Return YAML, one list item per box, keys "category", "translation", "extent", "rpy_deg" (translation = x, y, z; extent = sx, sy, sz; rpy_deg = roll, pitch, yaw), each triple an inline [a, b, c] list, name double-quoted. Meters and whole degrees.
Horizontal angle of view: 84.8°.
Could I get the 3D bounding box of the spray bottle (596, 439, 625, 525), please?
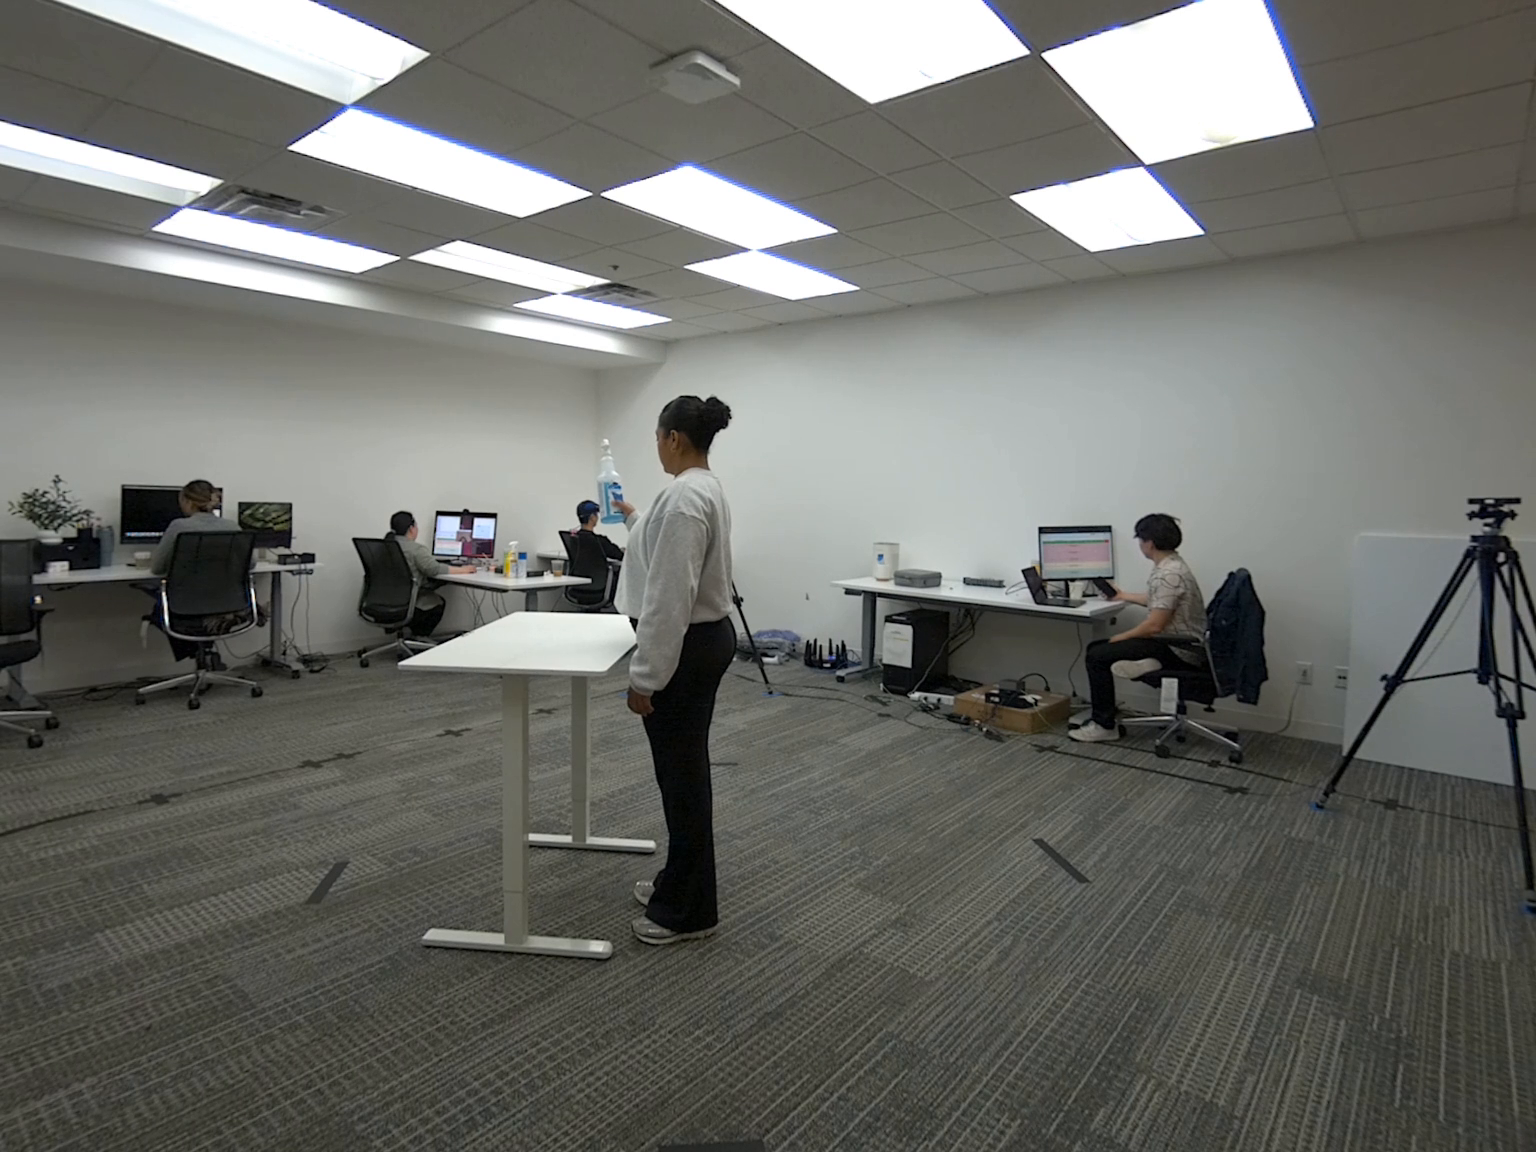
- category: "spray bottle"
  translation: [-0.572, -0.331, 2.973]
  extent: [0.088, 0.300, 0.088]
  rpy_deg: [-8, -10, 9]
